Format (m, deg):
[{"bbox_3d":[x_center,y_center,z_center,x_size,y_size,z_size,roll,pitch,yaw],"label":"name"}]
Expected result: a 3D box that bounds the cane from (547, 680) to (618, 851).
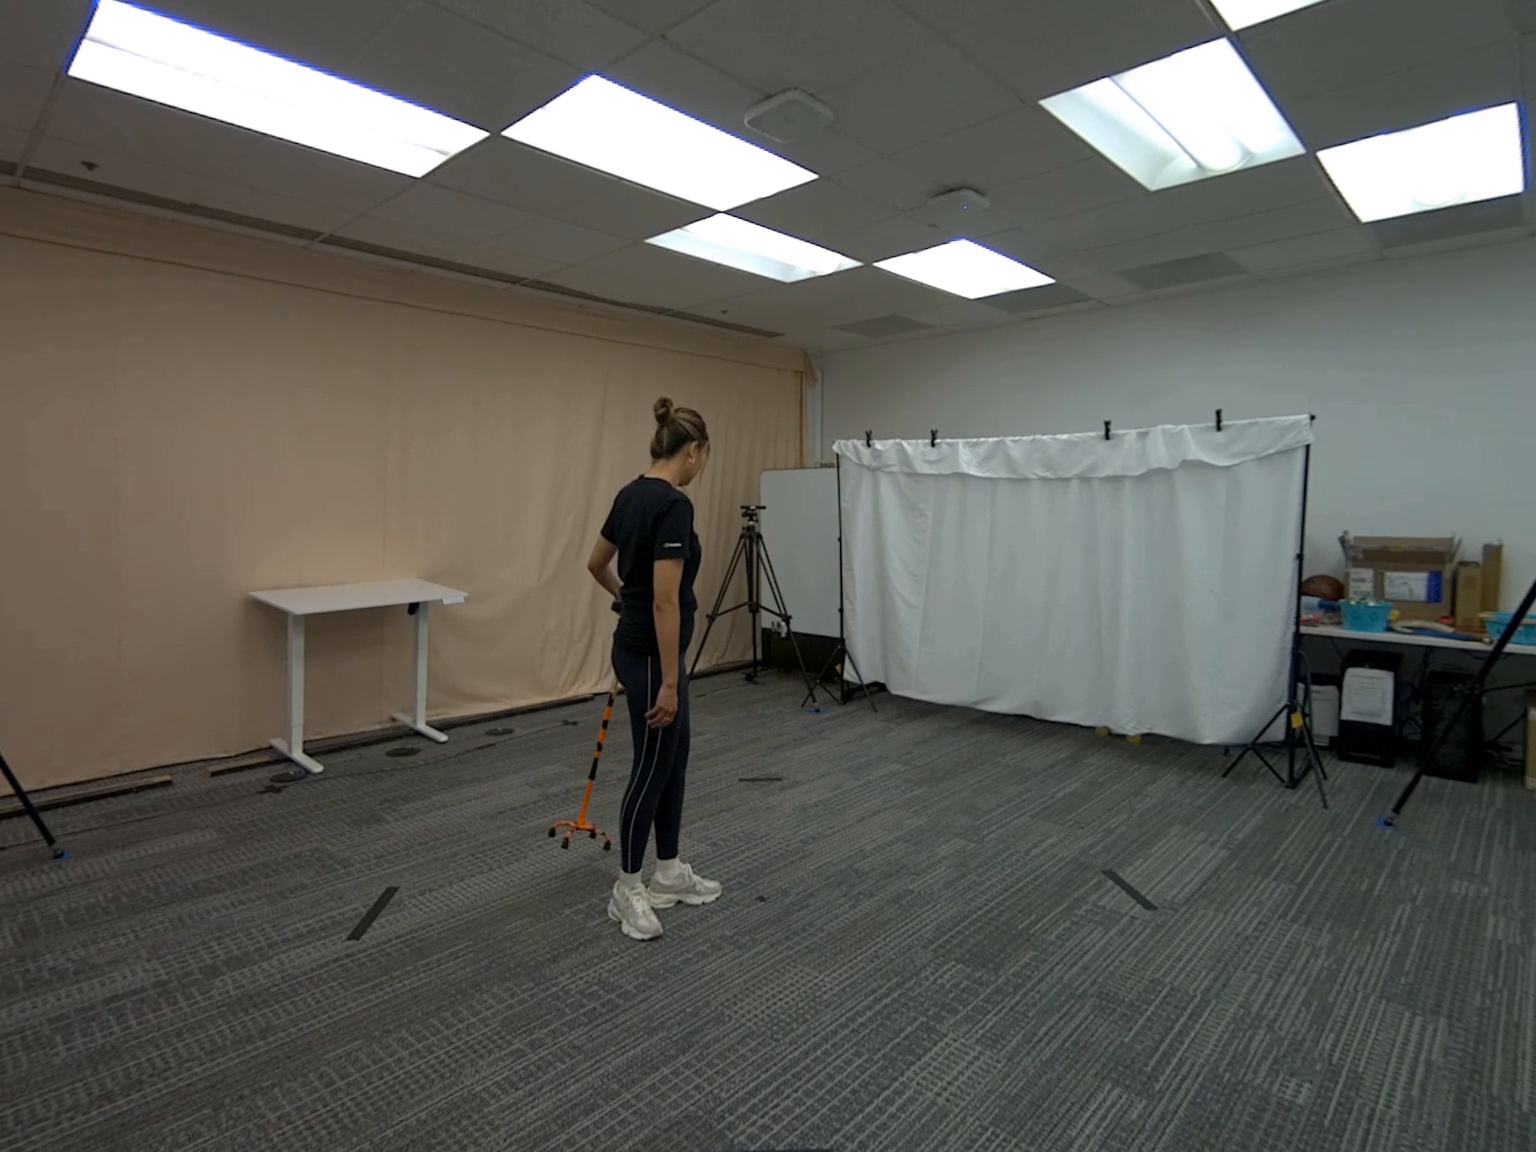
[{"bbox_3d":[-0.603,0.573,3.201,0.200,0.908,0.156,14,-3,-35],"label":"cane"}]
